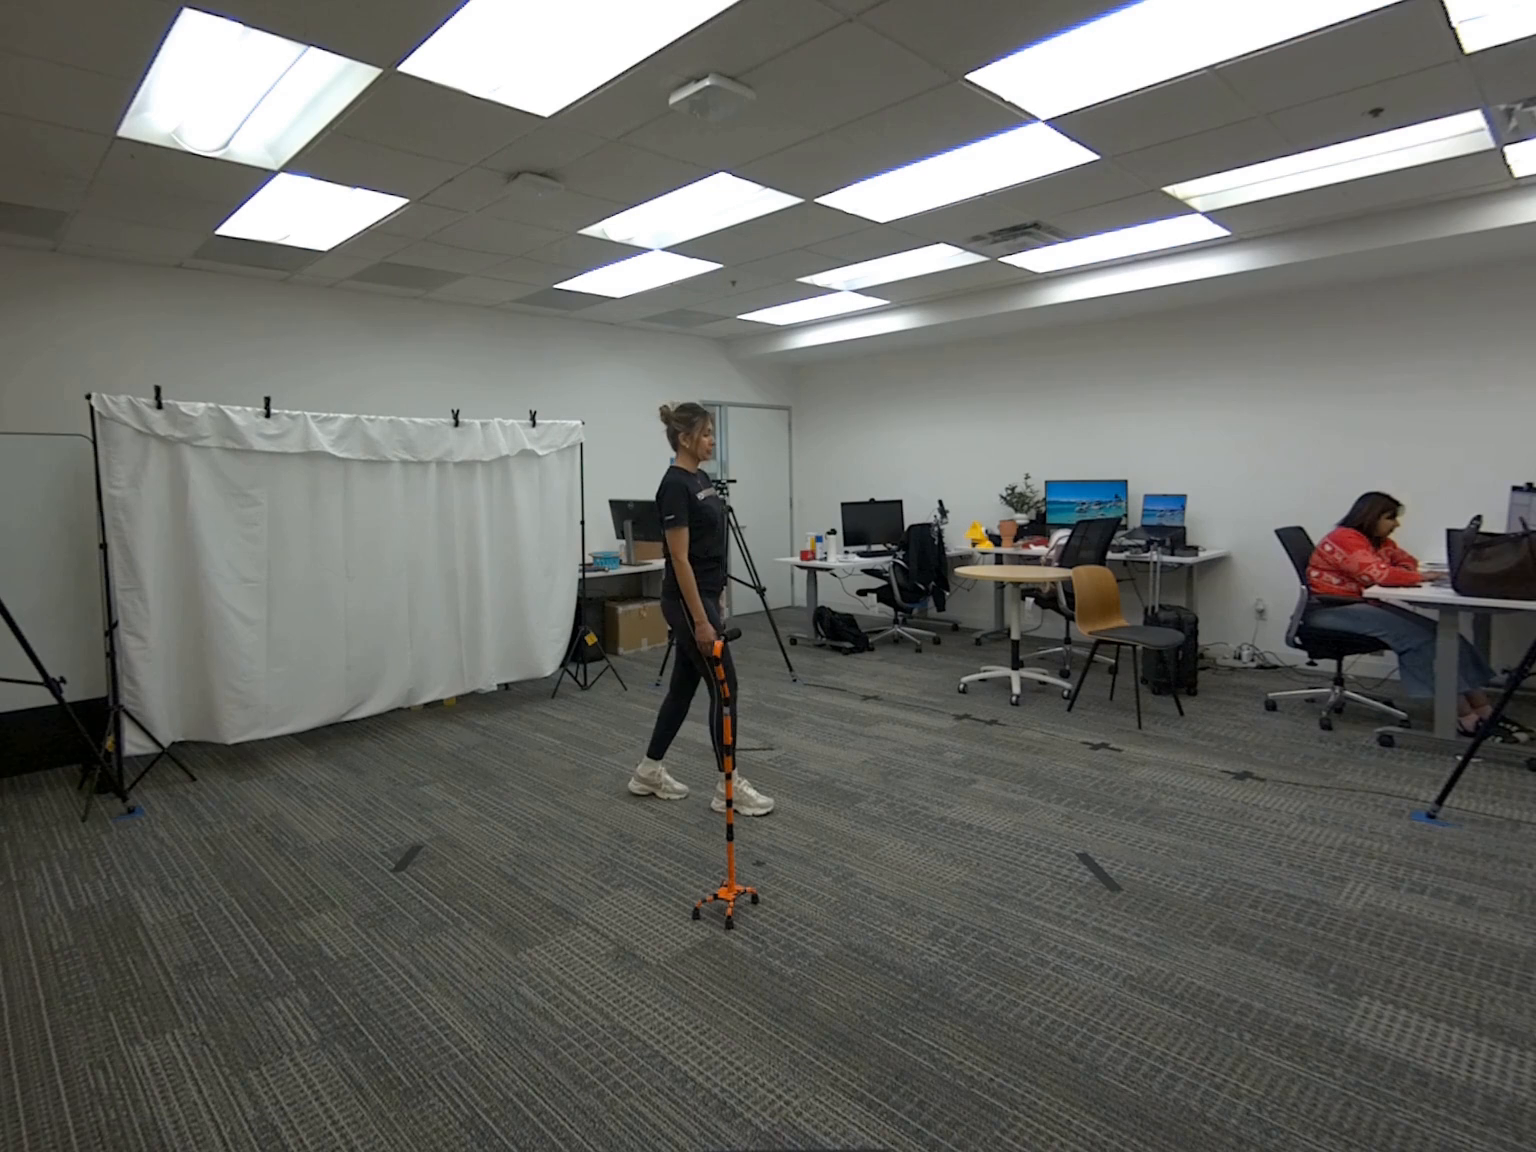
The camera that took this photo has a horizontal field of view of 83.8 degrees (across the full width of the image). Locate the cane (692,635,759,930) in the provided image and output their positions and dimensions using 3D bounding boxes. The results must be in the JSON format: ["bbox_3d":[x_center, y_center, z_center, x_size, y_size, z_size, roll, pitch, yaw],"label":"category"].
[{"bbox_3d":[-0.142,0.636,2.745,0.155,0.905,0.202,0,4,24],"label":"cane"}]
